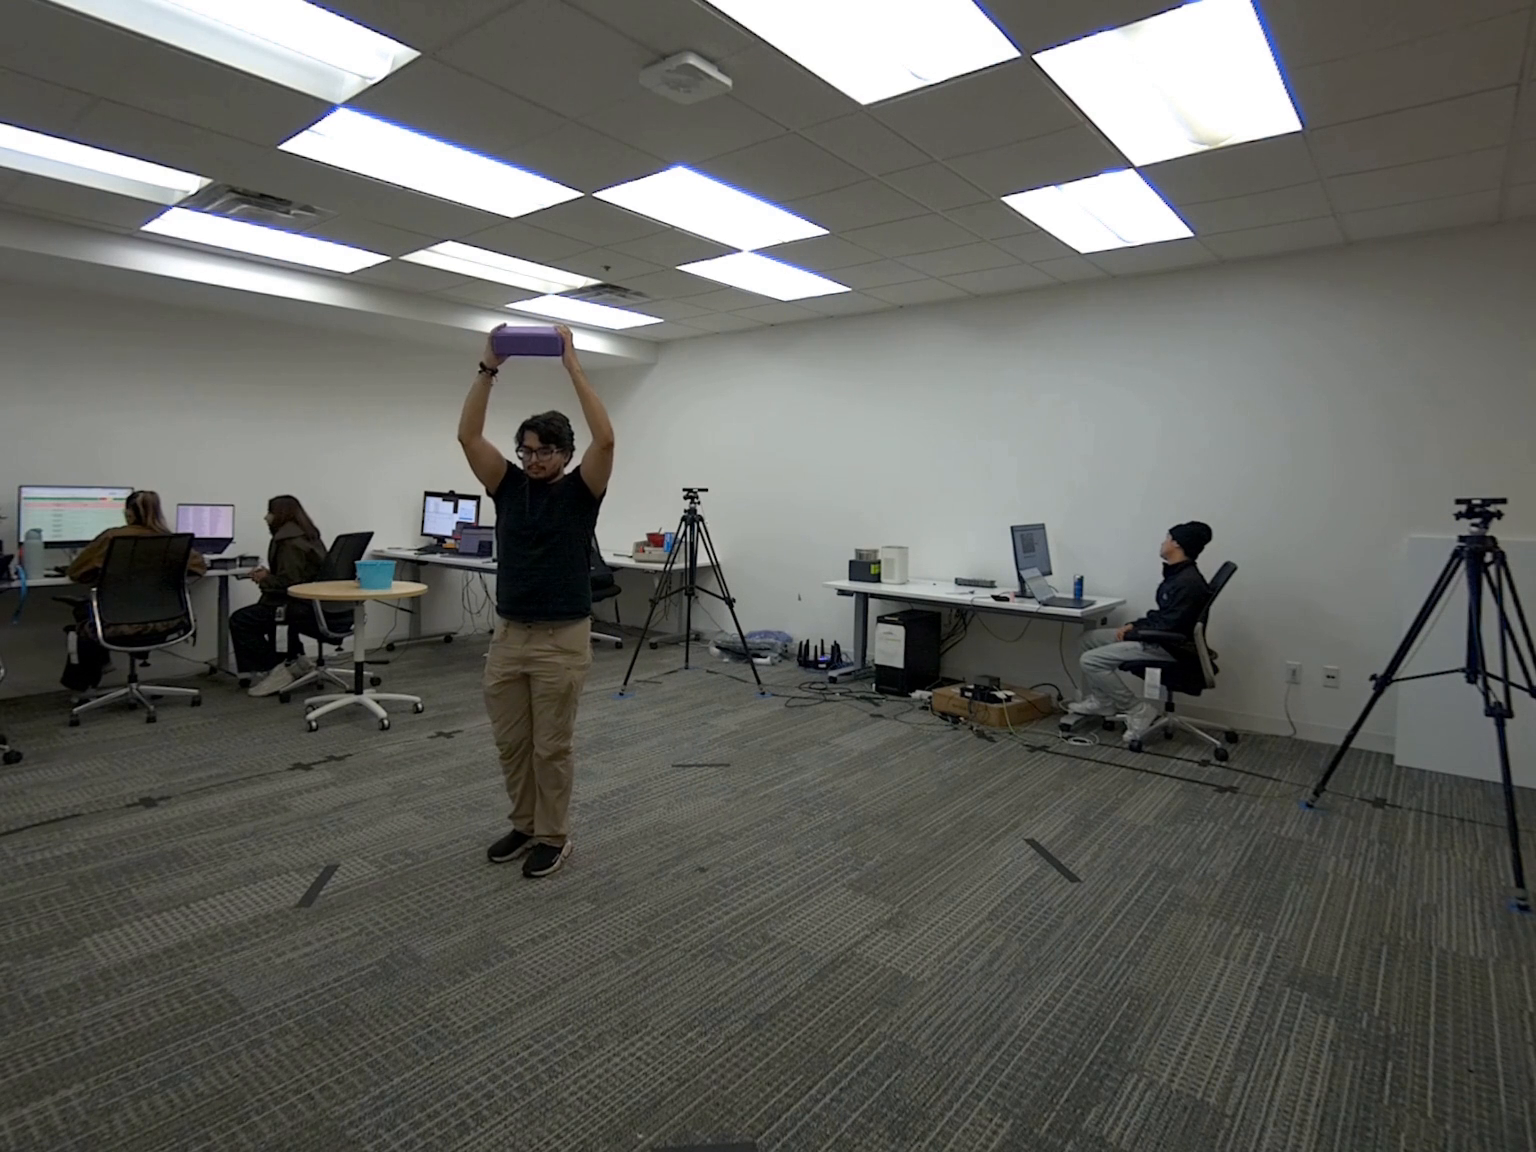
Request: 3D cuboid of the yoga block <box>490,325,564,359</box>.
[{"bbox_3d":[-0.819,-0.797,2.871,0.230,0.075,0.152,1,26,3],"label":"yoga block"}]
